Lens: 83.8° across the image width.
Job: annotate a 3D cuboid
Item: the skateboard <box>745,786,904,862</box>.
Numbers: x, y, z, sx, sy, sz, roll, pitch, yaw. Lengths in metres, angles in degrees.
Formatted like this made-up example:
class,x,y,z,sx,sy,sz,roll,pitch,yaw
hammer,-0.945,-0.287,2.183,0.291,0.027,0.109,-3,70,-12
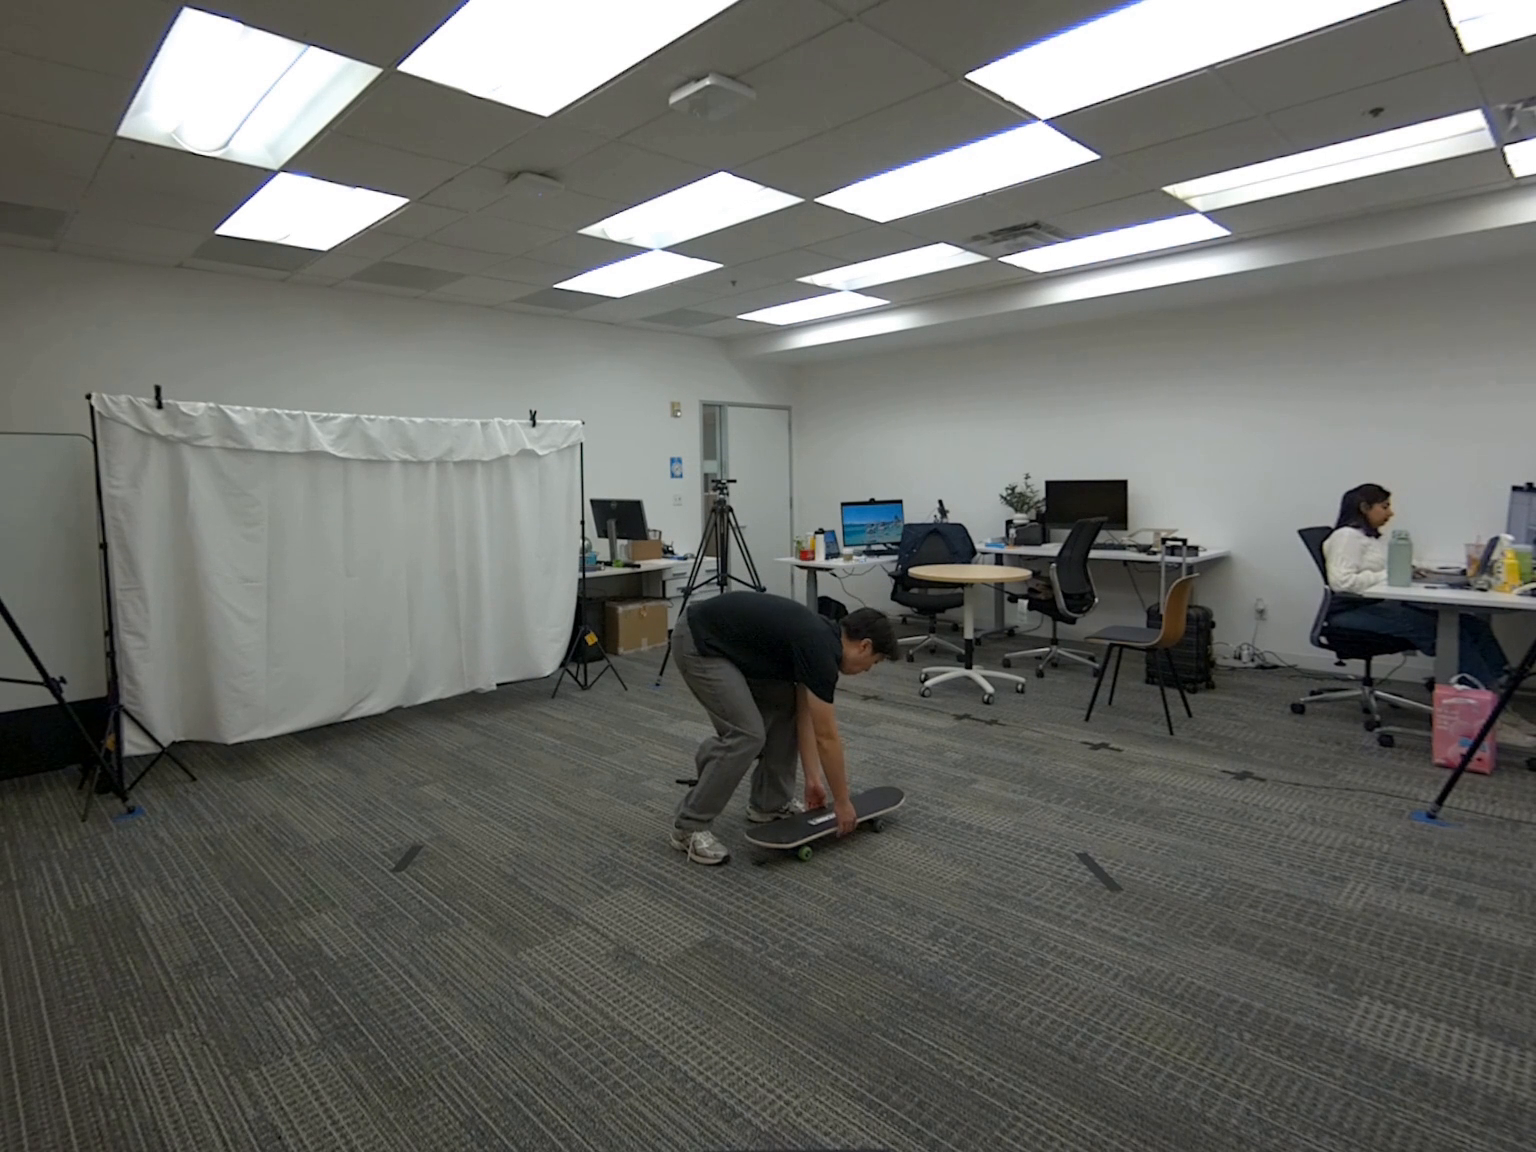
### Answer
class,x,y,z,sx,sy,sz,roll,pitch,yaw
skateboard,0.237,0.965,3.304,0.765,0.110,0.199,-5,8,-38
